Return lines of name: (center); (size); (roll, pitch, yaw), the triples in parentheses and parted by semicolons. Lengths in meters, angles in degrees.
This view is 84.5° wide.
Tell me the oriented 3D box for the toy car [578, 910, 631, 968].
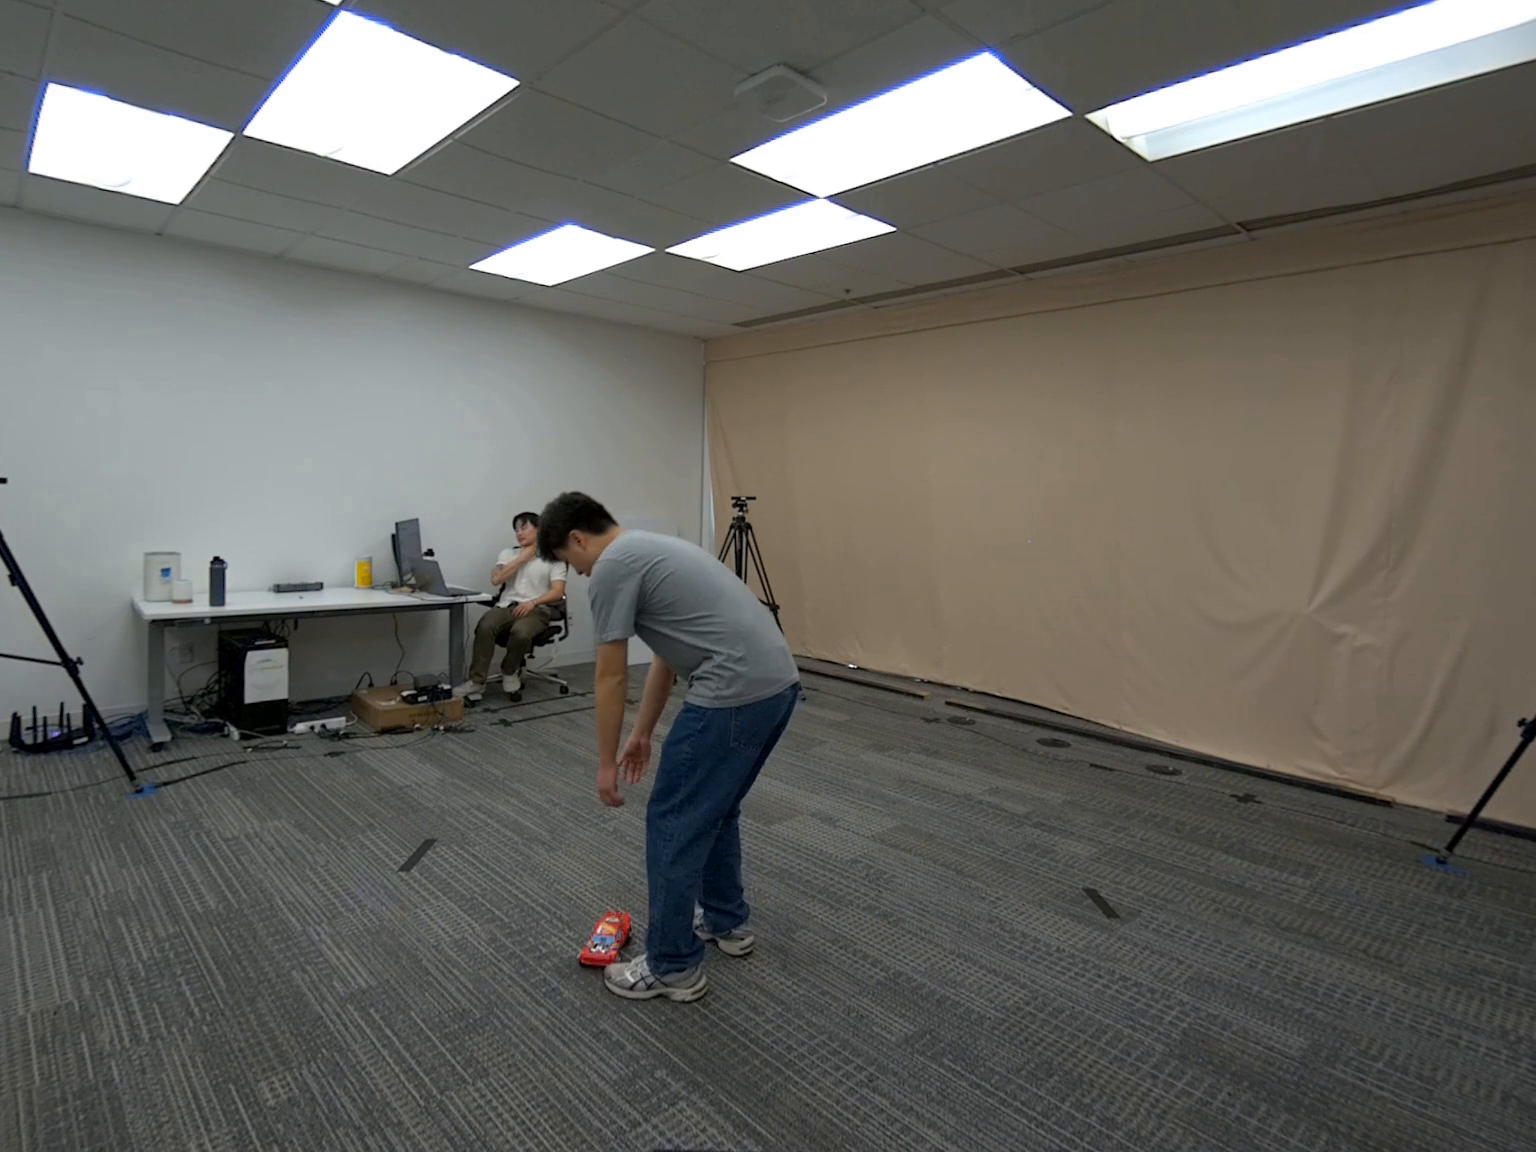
toy car: (-0.500, 1.120, 2.569); (0.131, 0.082, 0.256); (1, 15, 6)
